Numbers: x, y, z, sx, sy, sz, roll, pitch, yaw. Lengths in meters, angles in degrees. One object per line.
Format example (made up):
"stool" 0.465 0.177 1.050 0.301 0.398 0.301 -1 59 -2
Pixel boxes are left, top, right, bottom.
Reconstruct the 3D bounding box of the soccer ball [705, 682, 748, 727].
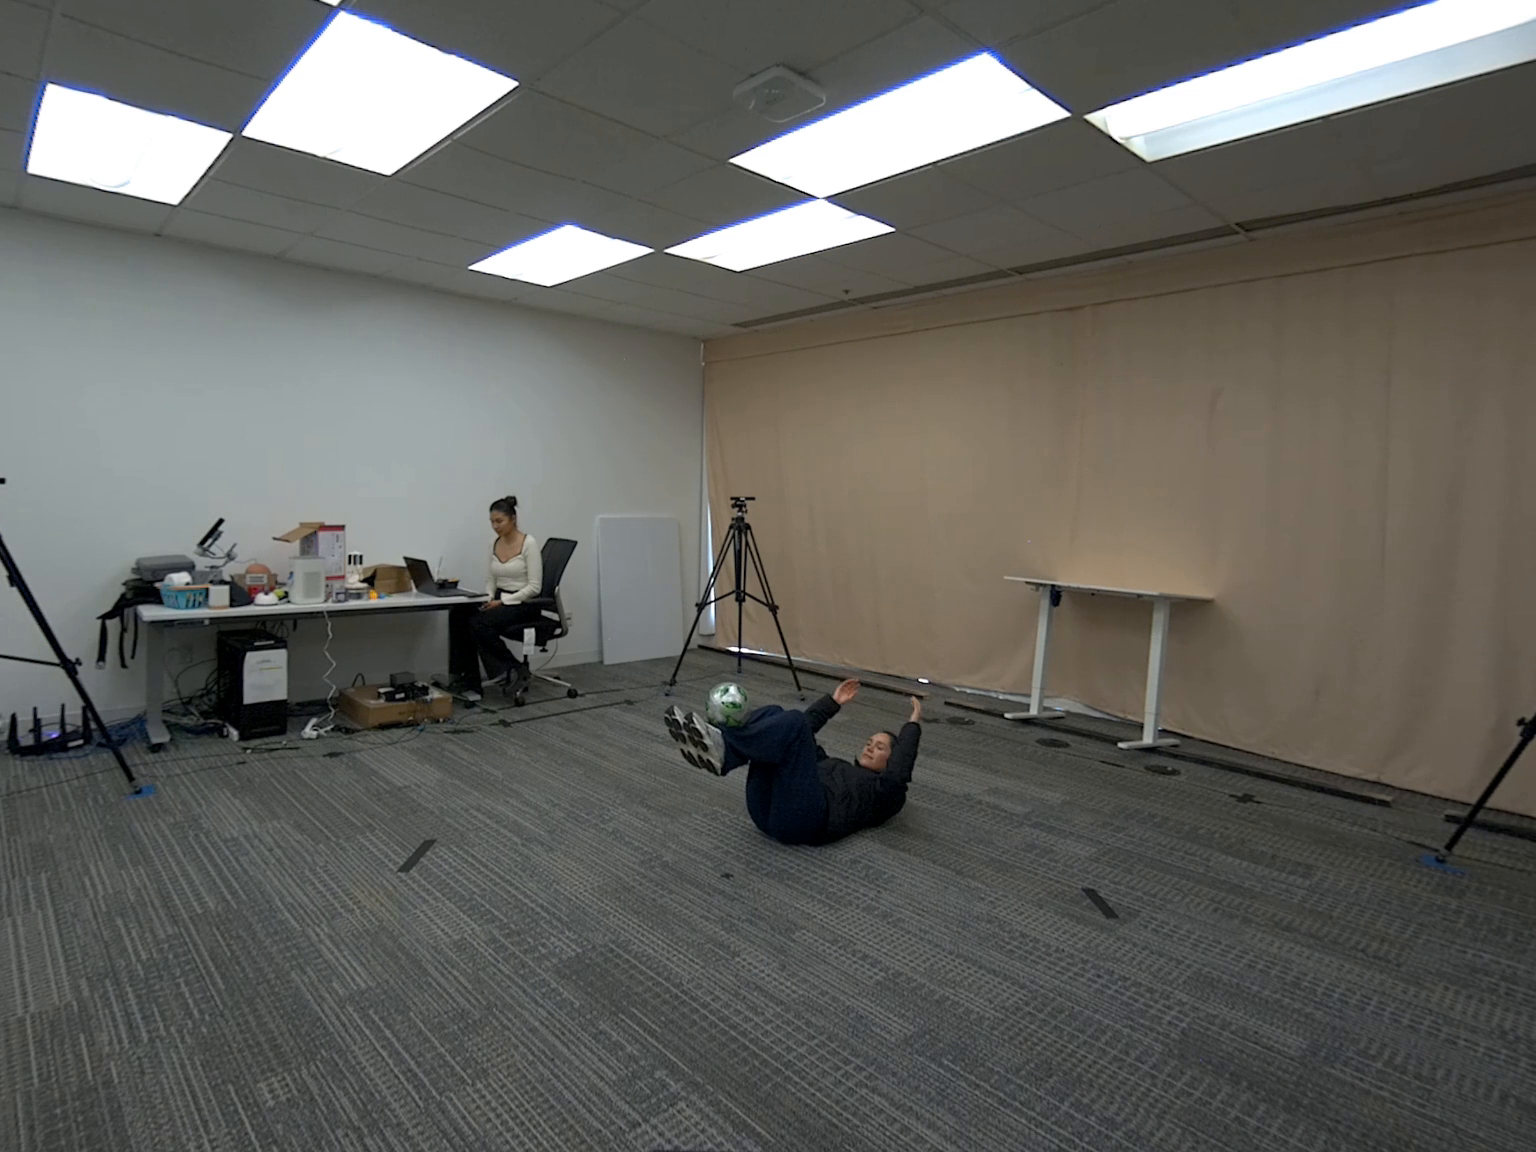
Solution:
"soccer ball" -0.164 0.509 3.267 0.187 0.186 0.188 0 7 -1
